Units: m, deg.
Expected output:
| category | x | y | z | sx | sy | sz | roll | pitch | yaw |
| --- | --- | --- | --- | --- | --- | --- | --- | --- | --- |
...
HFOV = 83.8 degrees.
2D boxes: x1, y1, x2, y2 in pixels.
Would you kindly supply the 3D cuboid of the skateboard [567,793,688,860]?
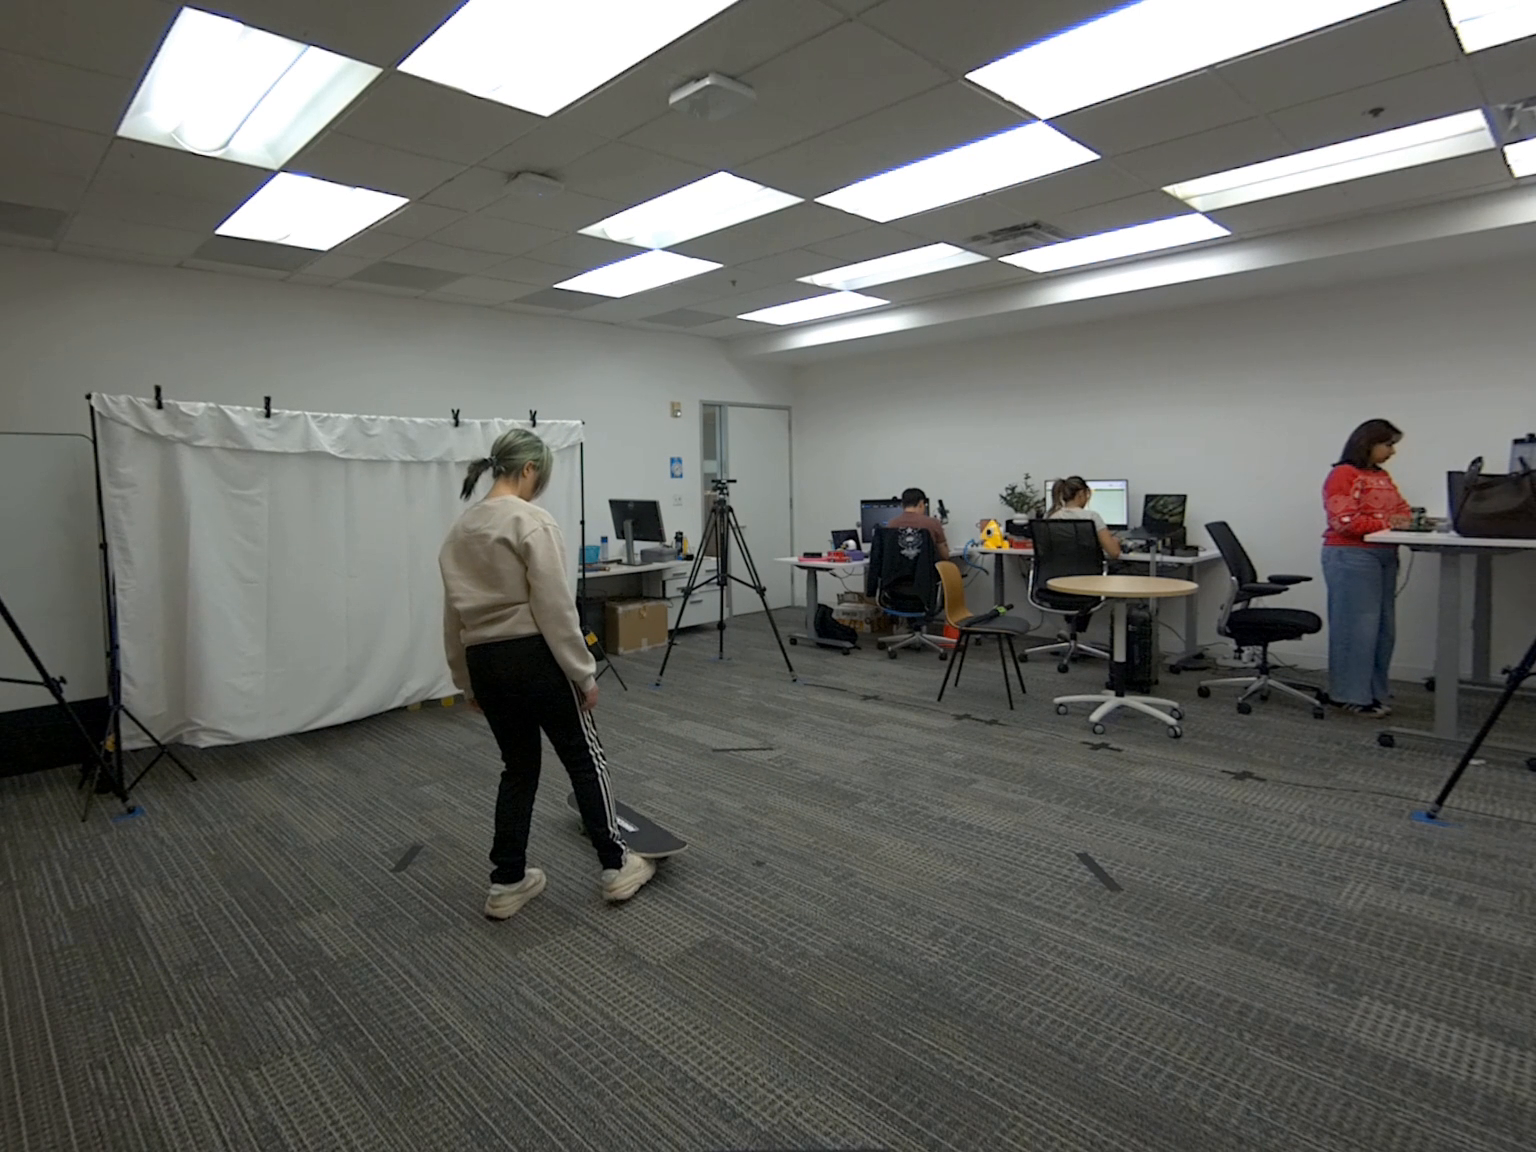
| category | x | y | z | sx | sy | sz | roll | pitch | yaw |
| --- | --- | --- | --- | --- | --- | --- | --- | --- | --- |
| skateboard | -0.558 | 0.980 | 3.278 | 0.188 | 0.110 | 0.808 | -3 | 6 | -36 |
